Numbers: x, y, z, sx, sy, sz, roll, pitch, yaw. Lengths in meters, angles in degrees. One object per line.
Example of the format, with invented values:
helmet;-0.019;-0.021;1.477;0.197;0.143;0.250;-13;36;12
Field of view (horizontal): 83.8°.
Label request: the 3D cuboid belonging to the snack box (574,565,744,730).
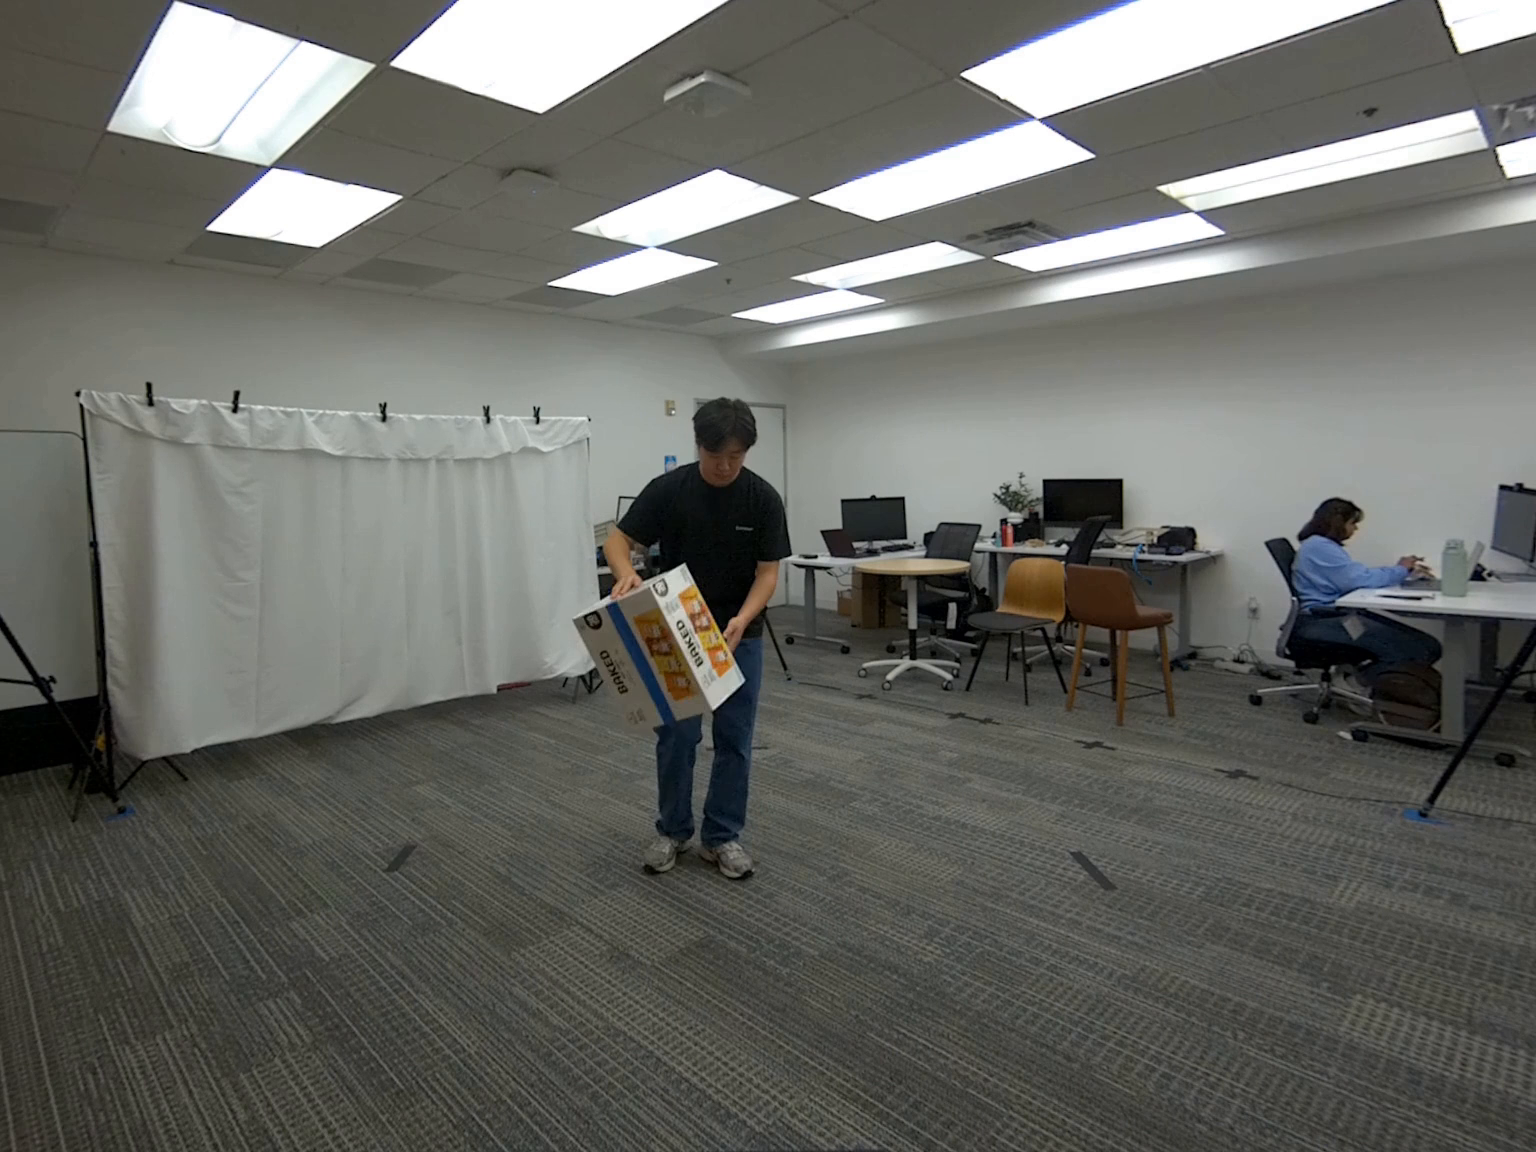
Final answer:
snack box;-0.344;0.233;2.611;0.345;0.403;0.204;-23;5;33
